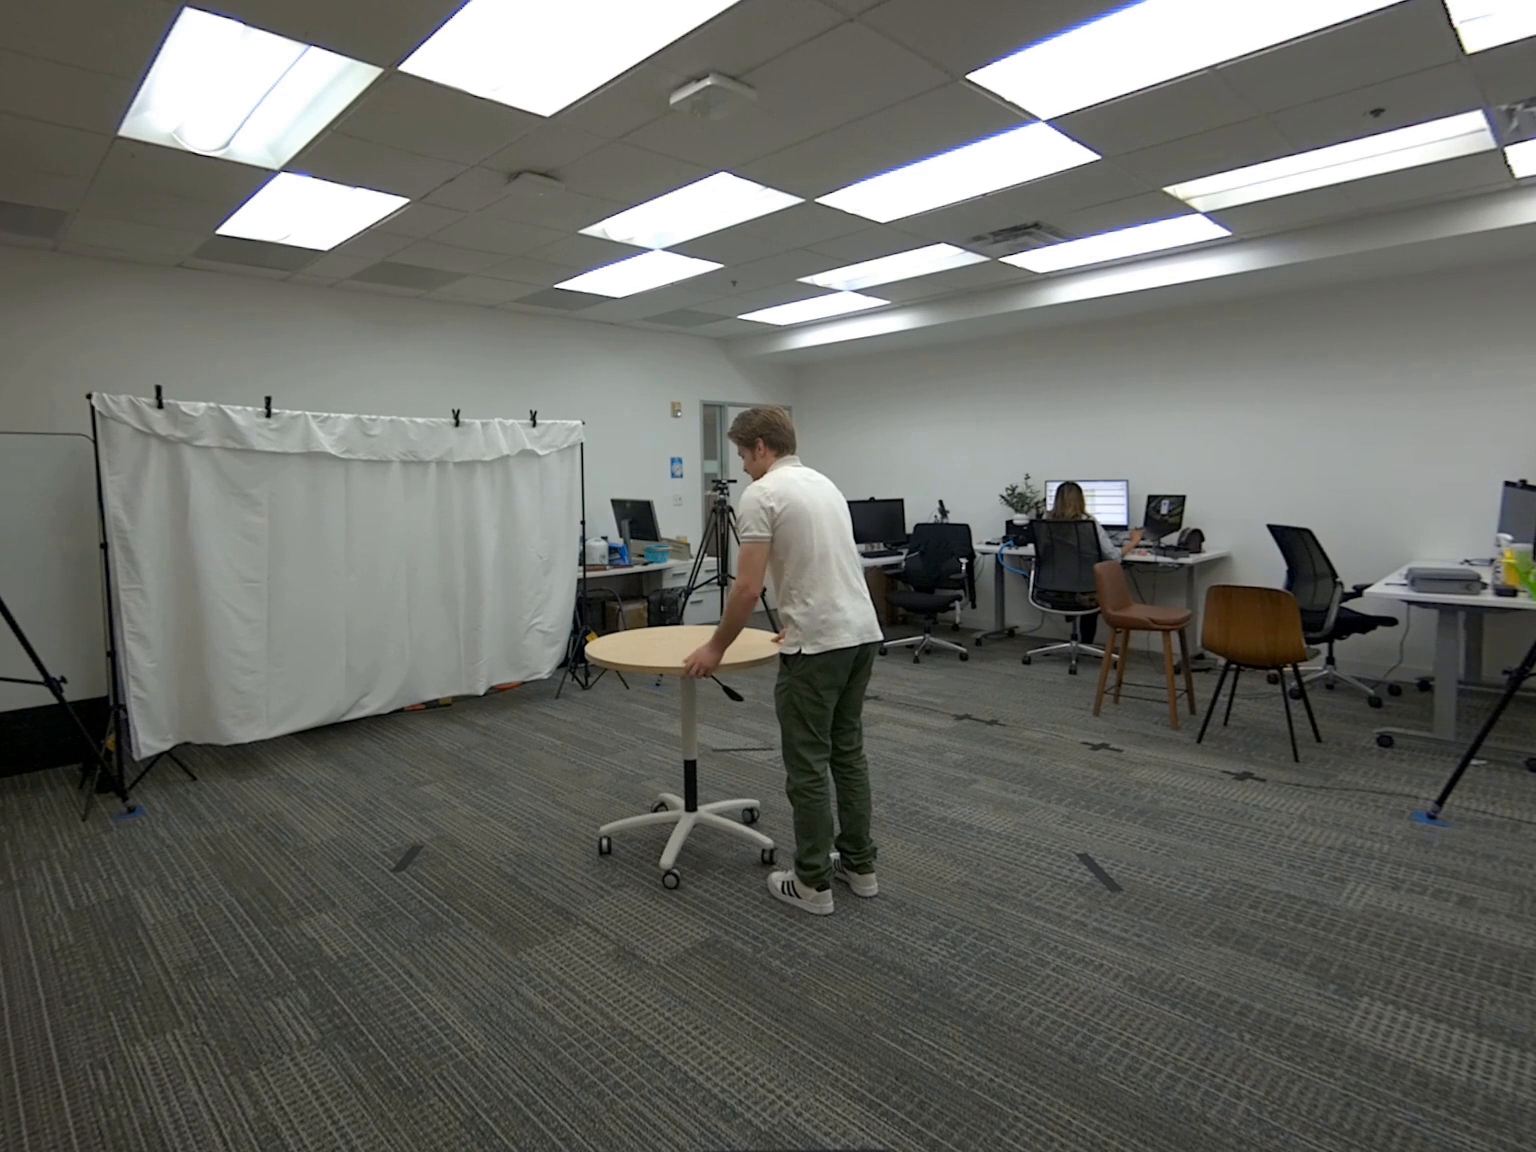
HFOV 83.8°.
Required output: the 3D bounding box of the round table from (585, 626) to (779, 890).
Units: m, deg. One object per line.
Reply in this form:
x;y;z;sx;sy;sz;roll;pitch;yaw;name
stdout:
-0.299;0.647;3.252;0.763;0.791;0.768;-1;5;-2;round table
